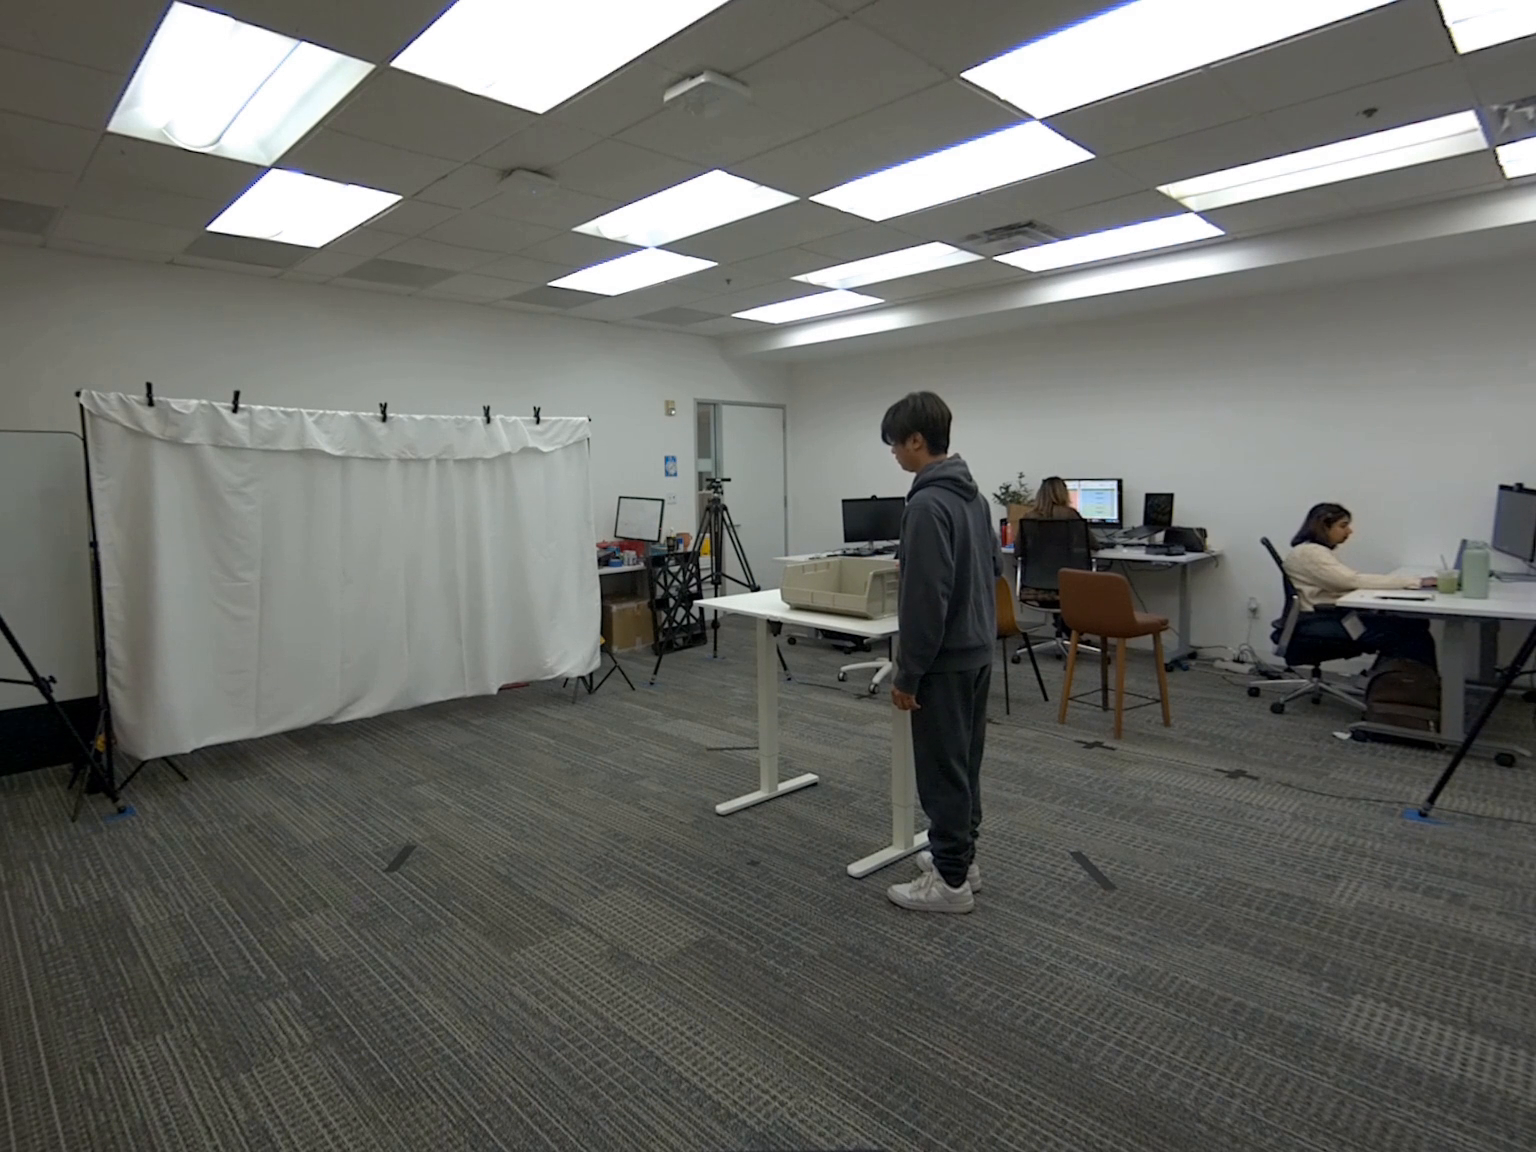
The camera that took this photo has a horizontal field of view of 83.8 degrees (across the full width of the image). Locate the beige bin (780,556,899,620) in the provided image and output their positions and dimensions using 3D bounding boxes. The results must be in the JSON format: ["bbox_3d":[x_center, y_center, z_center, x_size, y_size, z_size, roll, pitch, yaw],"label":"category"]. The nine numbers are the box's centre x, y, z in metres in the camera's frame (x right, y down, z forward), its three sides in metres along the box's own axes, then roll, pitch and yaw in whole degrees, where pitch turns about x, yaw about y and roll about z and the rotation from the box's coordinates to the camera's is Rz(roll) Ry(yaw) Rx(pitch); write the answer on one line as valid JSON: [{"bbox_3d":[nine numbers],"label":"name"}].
[{"bbox_3d":[0.326,0.043,3.300,0.367,0.188,0.435,-6,8,-45],"label":"beige bin"}]
